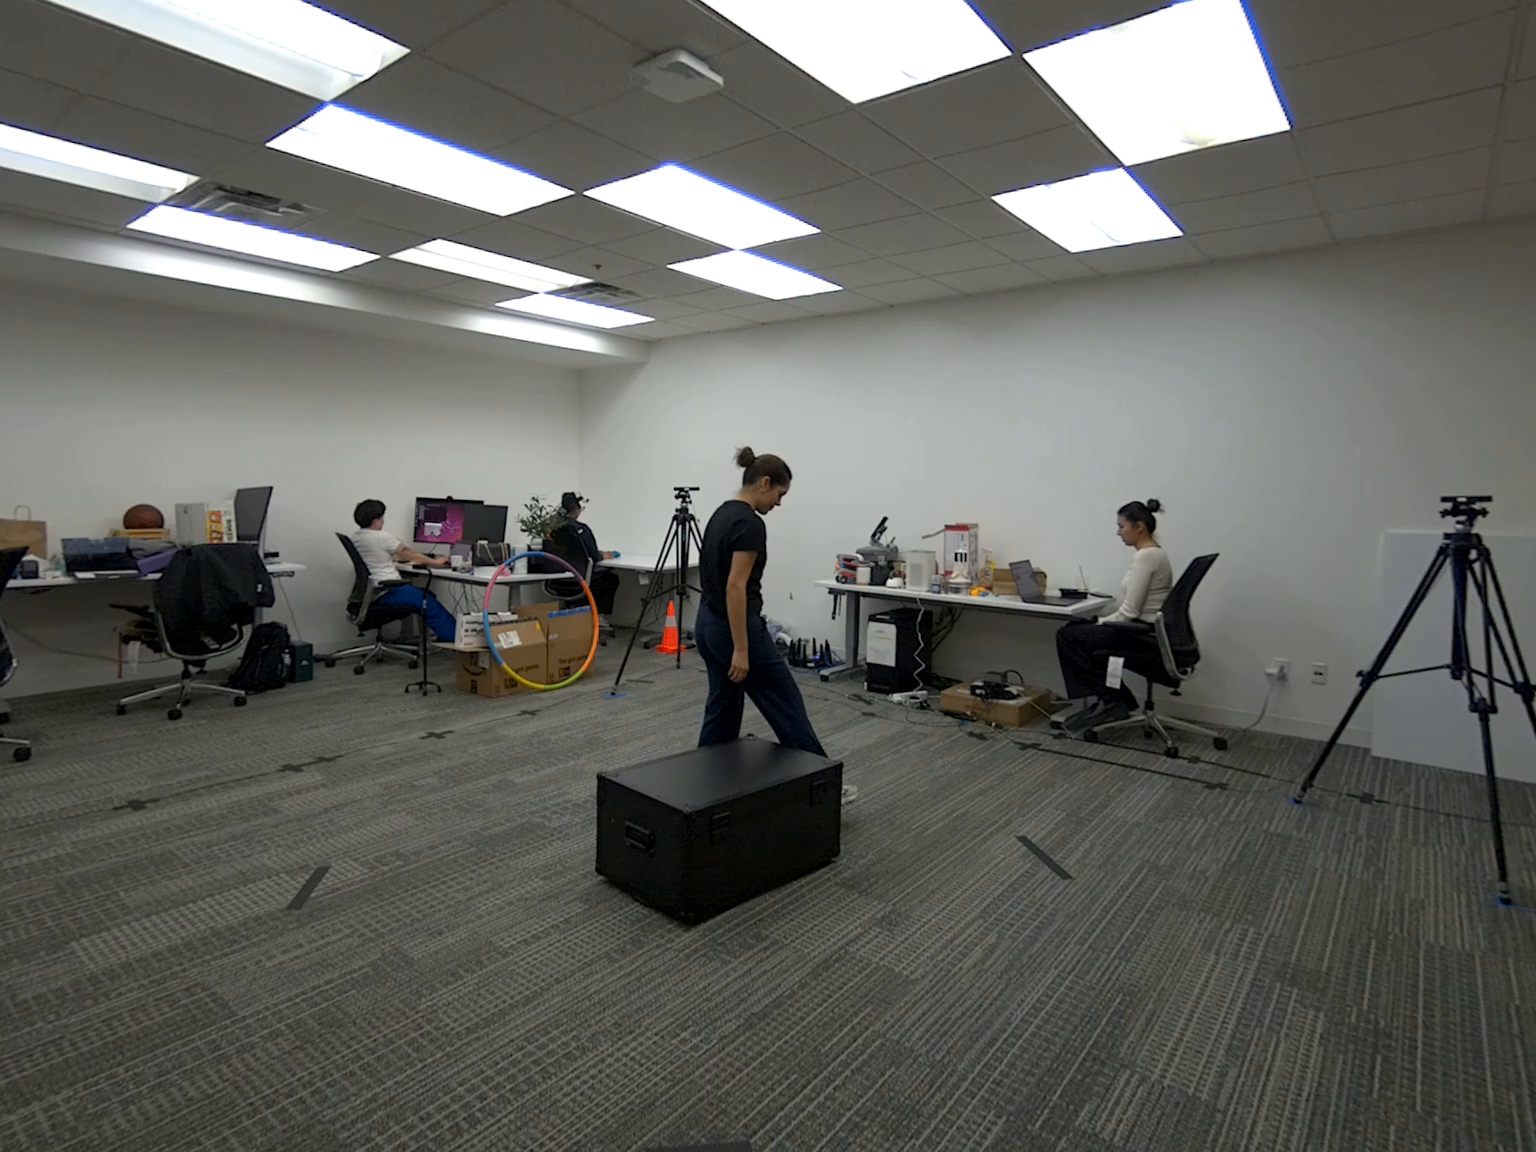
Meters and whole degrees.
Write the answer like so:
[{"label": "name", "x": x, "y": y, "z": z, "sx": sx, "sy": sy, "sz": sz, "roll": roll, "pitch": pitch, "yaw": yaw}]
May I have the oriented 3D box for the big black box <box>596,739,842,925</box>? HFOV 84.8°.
[{"label": "big black box", "x": -0.173, "y": 0.880, "z": 3.080, "sx": 0.835, "sy": 0.395, "sz": 0.539, "roll": -3, "pitch": 6, "yaw": -45}]
